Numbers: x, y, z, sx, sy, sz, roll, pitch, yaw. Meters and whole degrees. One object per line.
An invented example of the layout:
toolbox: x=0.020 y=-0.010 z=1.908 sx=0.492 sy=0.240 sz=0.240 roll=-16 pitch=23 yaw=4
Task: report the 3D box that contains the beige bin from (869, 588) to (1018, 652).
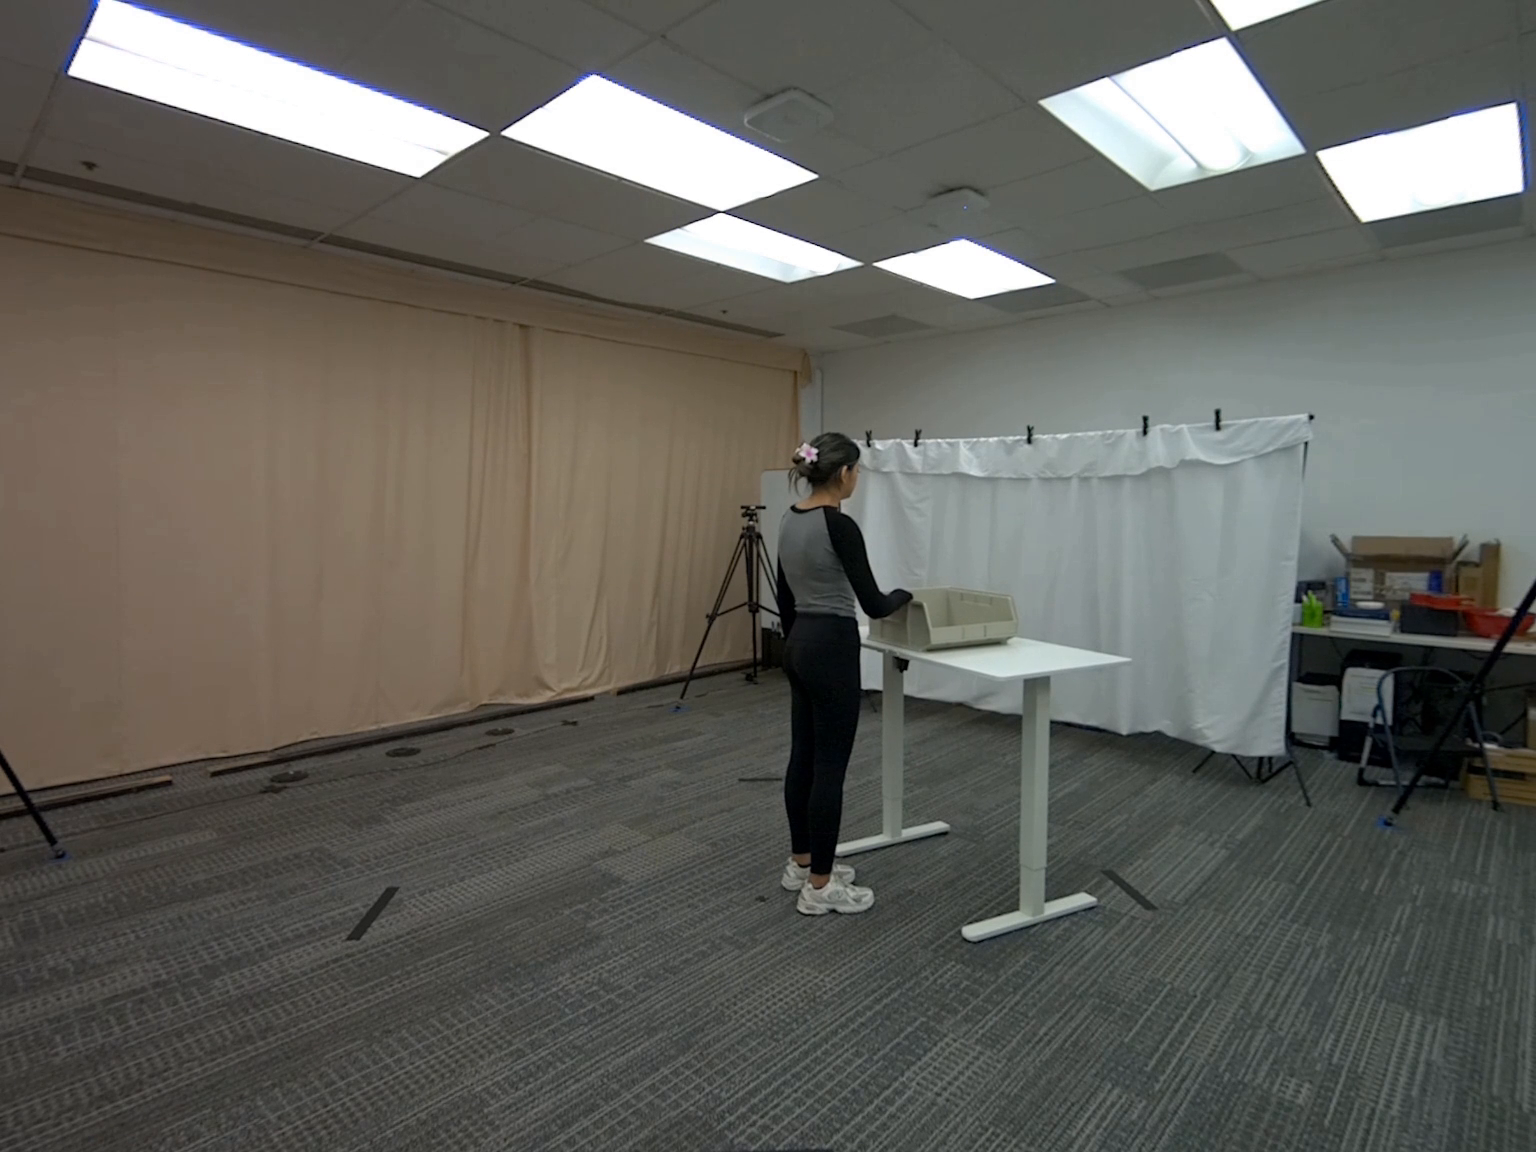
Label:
beige bin: x=0.644 y=0.160 z=3.122 sx=0.412 sy=0.188 sz=0.388 roll=-4 pitch=4 yaw=-28
